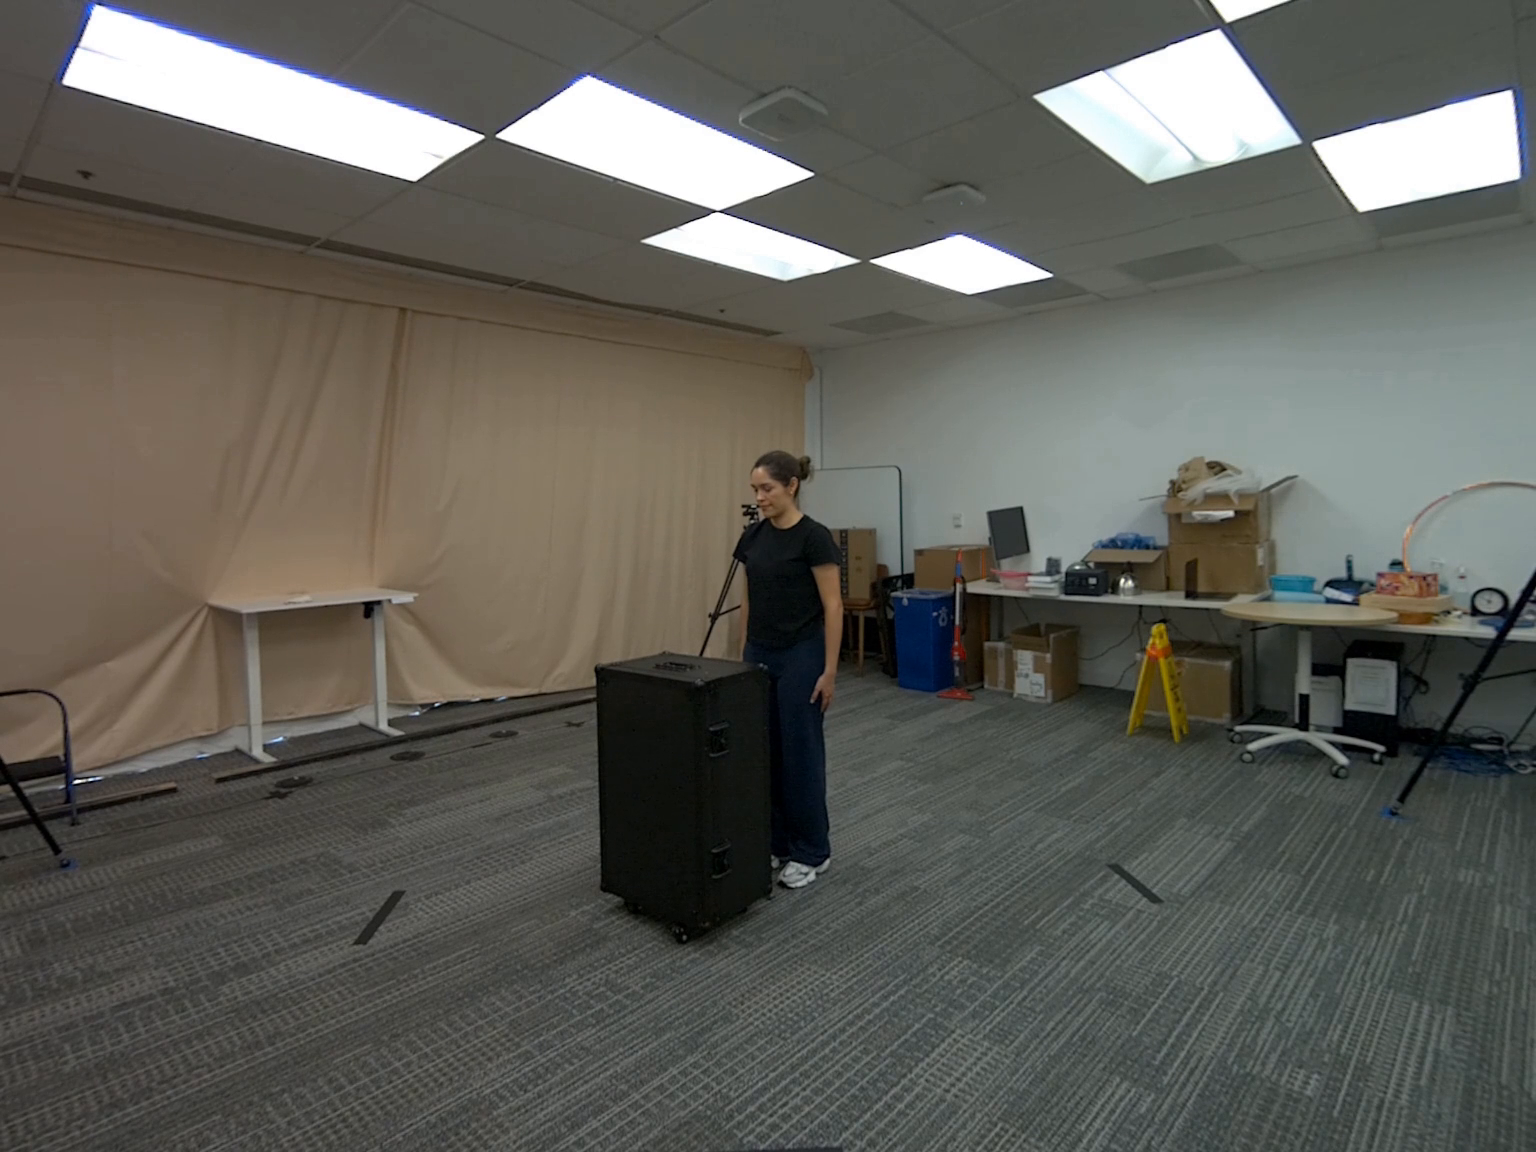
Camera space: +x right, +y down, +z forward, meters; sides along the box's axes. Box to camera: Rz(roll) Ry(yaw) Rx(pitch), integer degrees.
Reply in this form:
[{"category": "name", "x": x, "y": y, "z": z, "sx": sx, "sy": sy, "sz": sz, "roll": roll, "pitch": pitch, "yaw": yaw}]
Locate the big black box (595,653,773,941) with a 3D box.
[{"category": "big black box", "x": -0.277, "y": 0.730, "z": 2.870, "sx": 0.538, "sy": 0.859, "sz": 0.384, "roll": 2, "pitch": 5, "yaw": 38}]
